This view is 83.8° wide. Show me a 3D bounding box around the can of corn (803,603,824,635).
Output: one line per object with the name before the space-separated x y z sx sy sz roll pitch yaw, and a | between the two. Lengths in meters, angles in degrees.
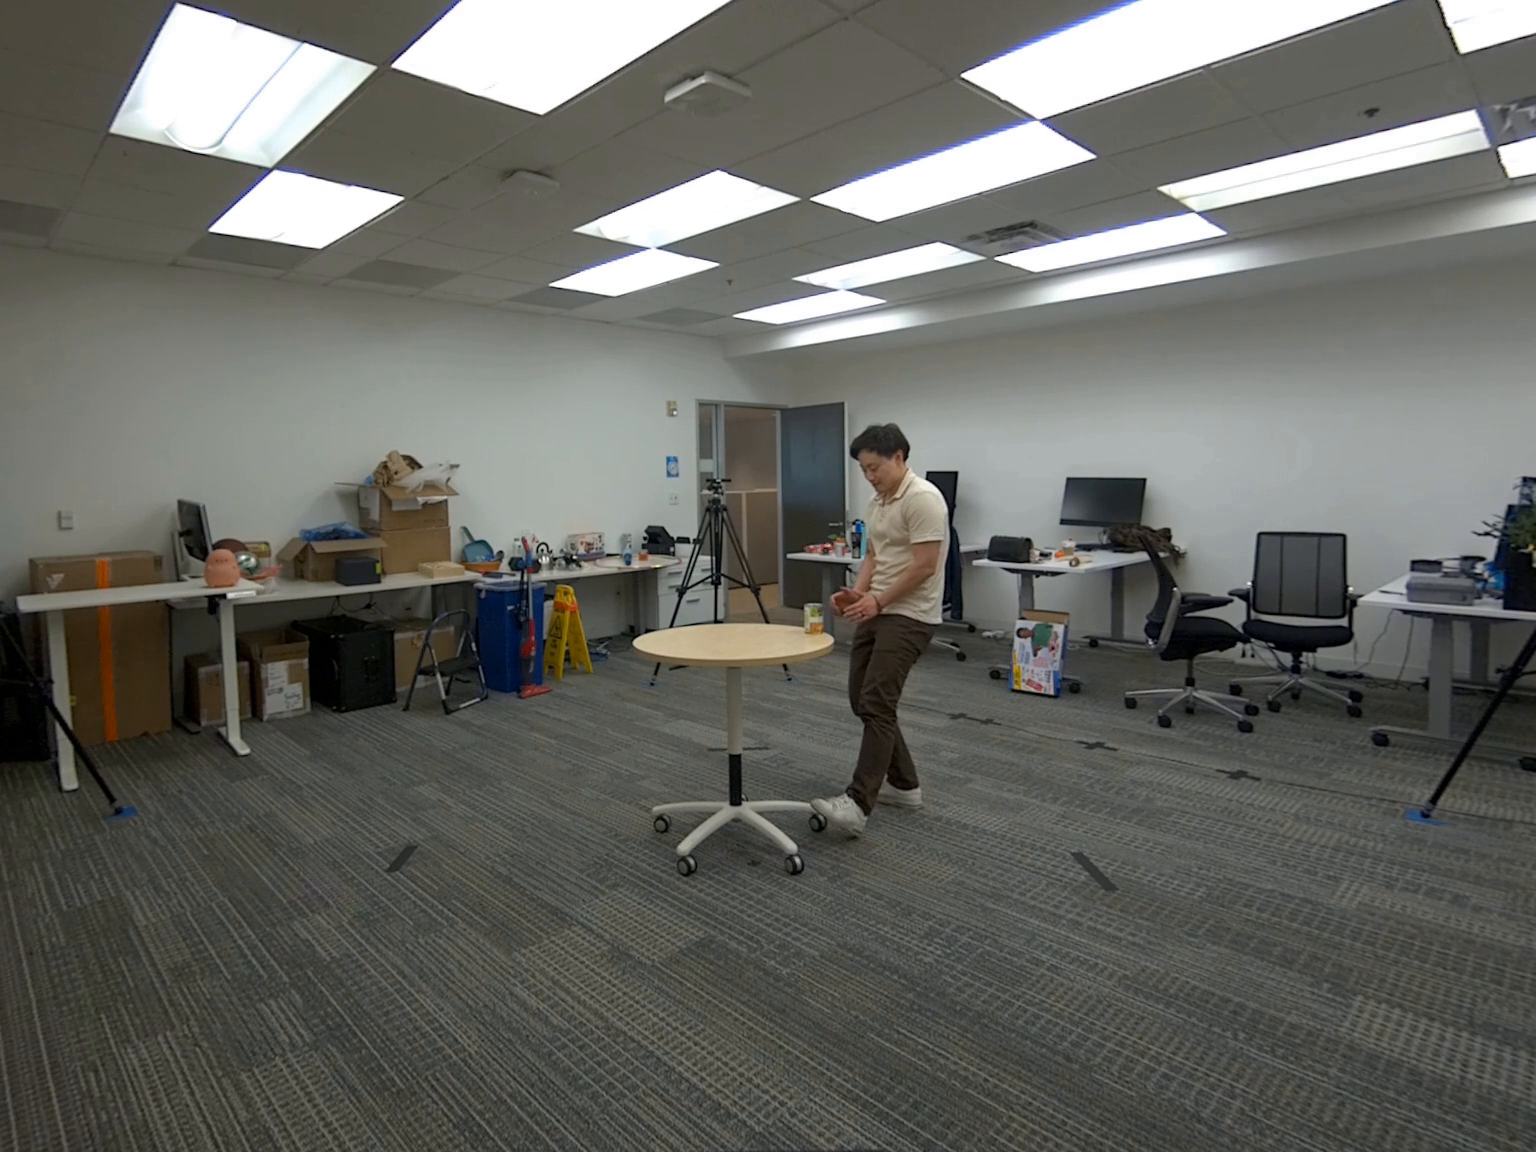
can of corn | 0.183 0.169 3.384 0.074 0.111 0.074 0 3 -2
